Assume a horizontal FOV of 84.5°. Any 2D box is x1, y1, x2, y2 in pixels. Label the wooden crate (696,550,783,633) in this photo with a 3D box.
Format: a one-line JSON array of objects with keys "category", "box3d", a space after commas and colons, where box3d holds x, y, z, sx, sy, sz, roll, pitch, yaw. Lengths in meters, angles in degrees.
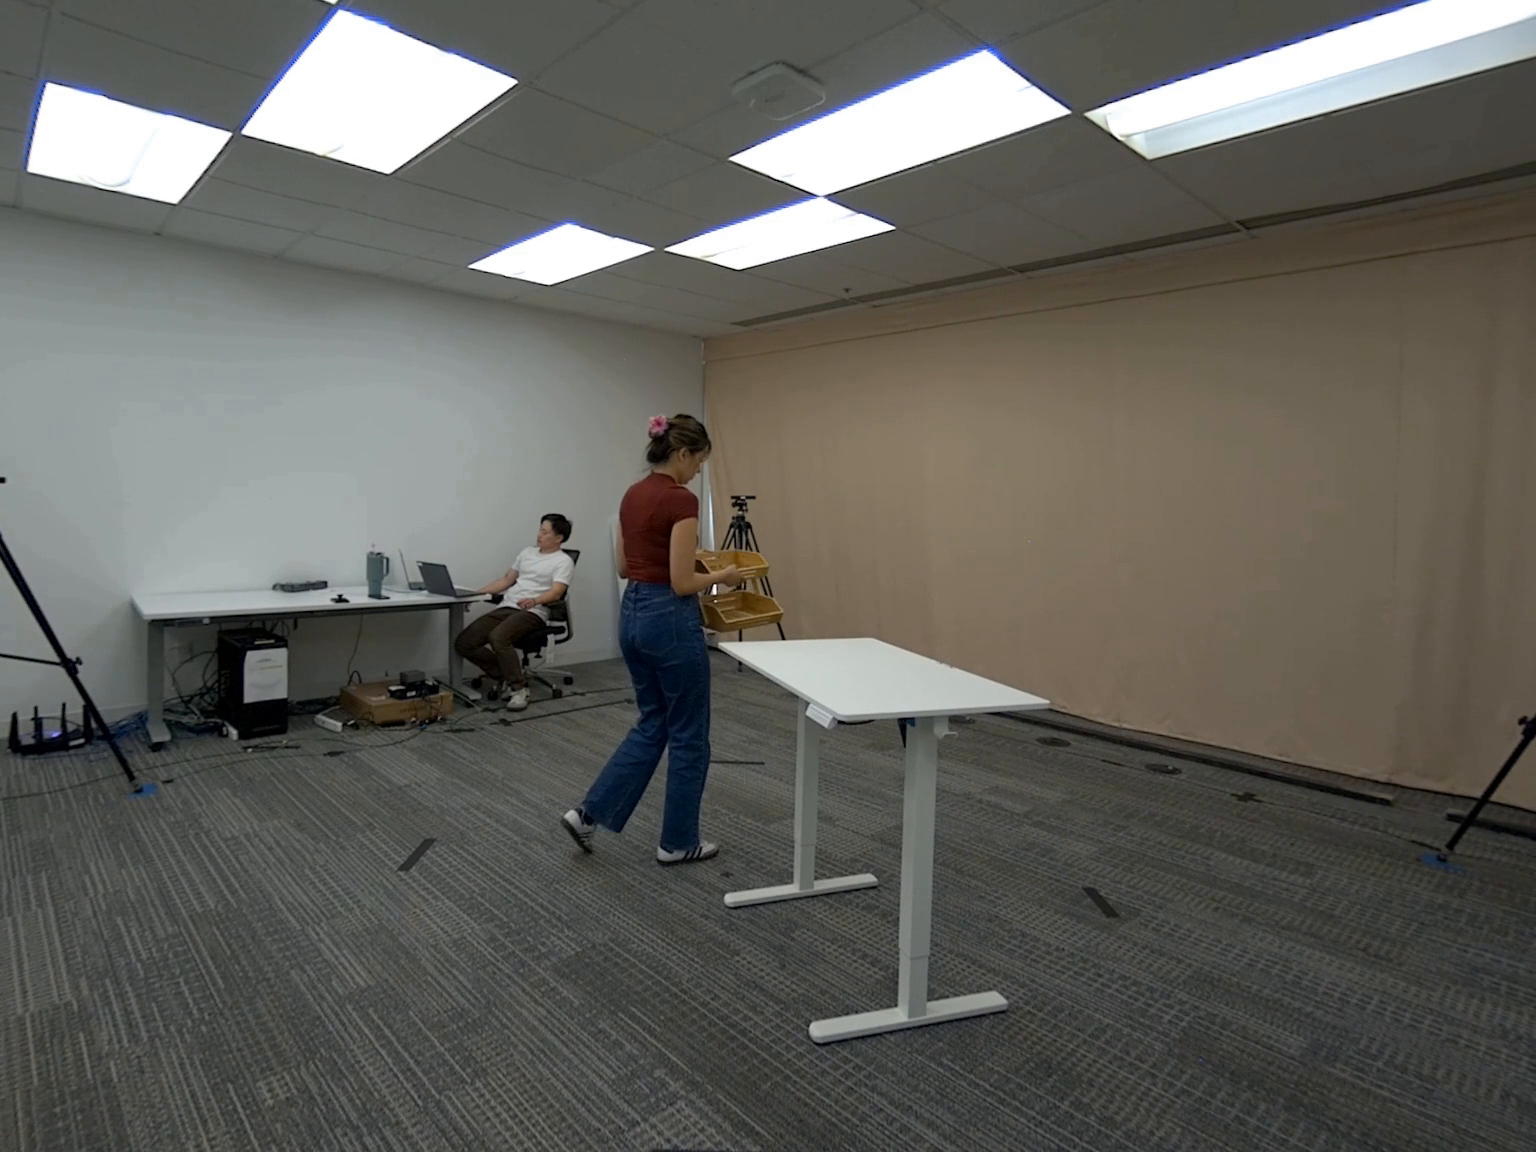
[{"category": "wooden crate", "box3d": [-0.146, 0.046, 3.326, 0.318, 0.272, 0.310, -7, 12, -43]}]
